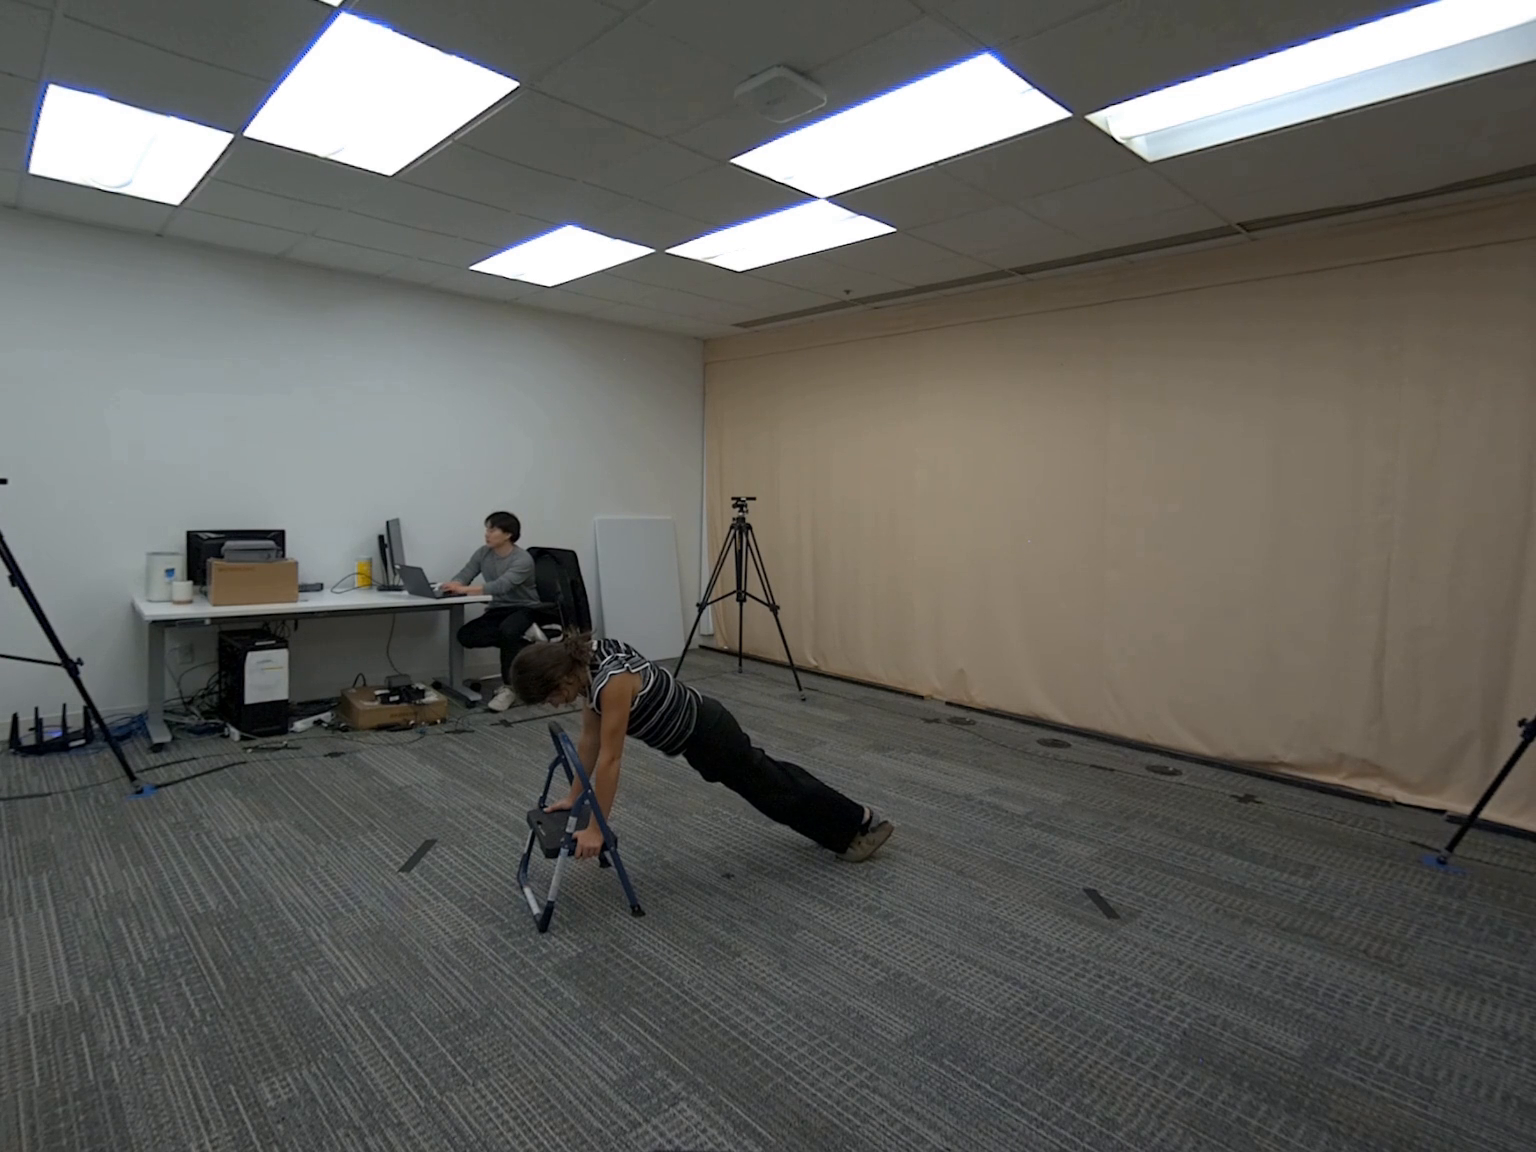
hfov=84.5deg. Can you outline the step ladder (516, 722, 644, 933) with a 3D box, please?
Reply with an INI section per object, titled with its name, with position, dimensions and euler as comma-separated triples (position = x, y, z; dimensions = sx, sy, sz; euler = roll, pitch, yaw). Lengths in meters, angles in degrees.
[step ladder]
position = -0.661, 0.814, 2.900
dimensions = 0.343, 0.604, 0.440
euler = -1, 4, -27
